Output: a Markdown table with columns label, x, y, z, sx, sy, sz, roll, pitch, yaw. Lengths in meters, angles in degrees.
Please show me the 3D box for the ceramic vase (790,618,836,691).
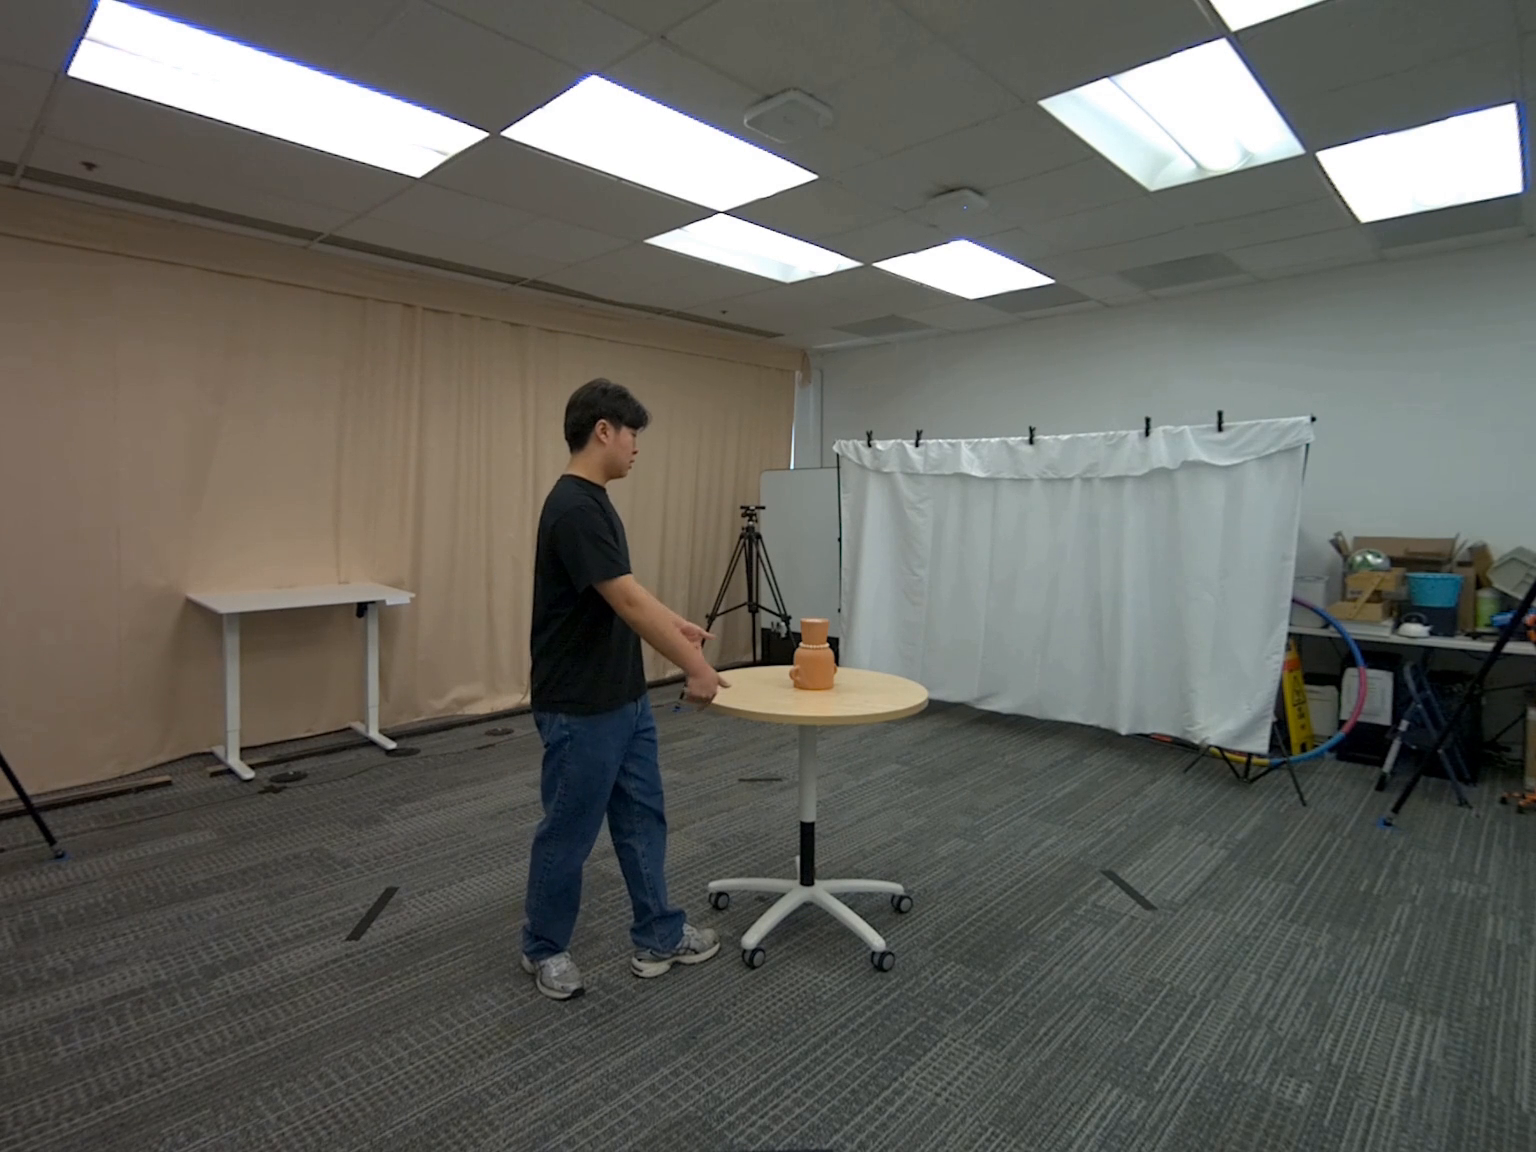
| label | x | y | z | sx | sy | sz | roll | pitch | yaw |
| --- | --- | --- | --- | --- | --- | --- | --- | --- | --- |
| ceramic vase | 0.157 | 0.257 | 2.768 | 0.137 | 0.219 | 0.157 | 2 | 5 | 14 |
